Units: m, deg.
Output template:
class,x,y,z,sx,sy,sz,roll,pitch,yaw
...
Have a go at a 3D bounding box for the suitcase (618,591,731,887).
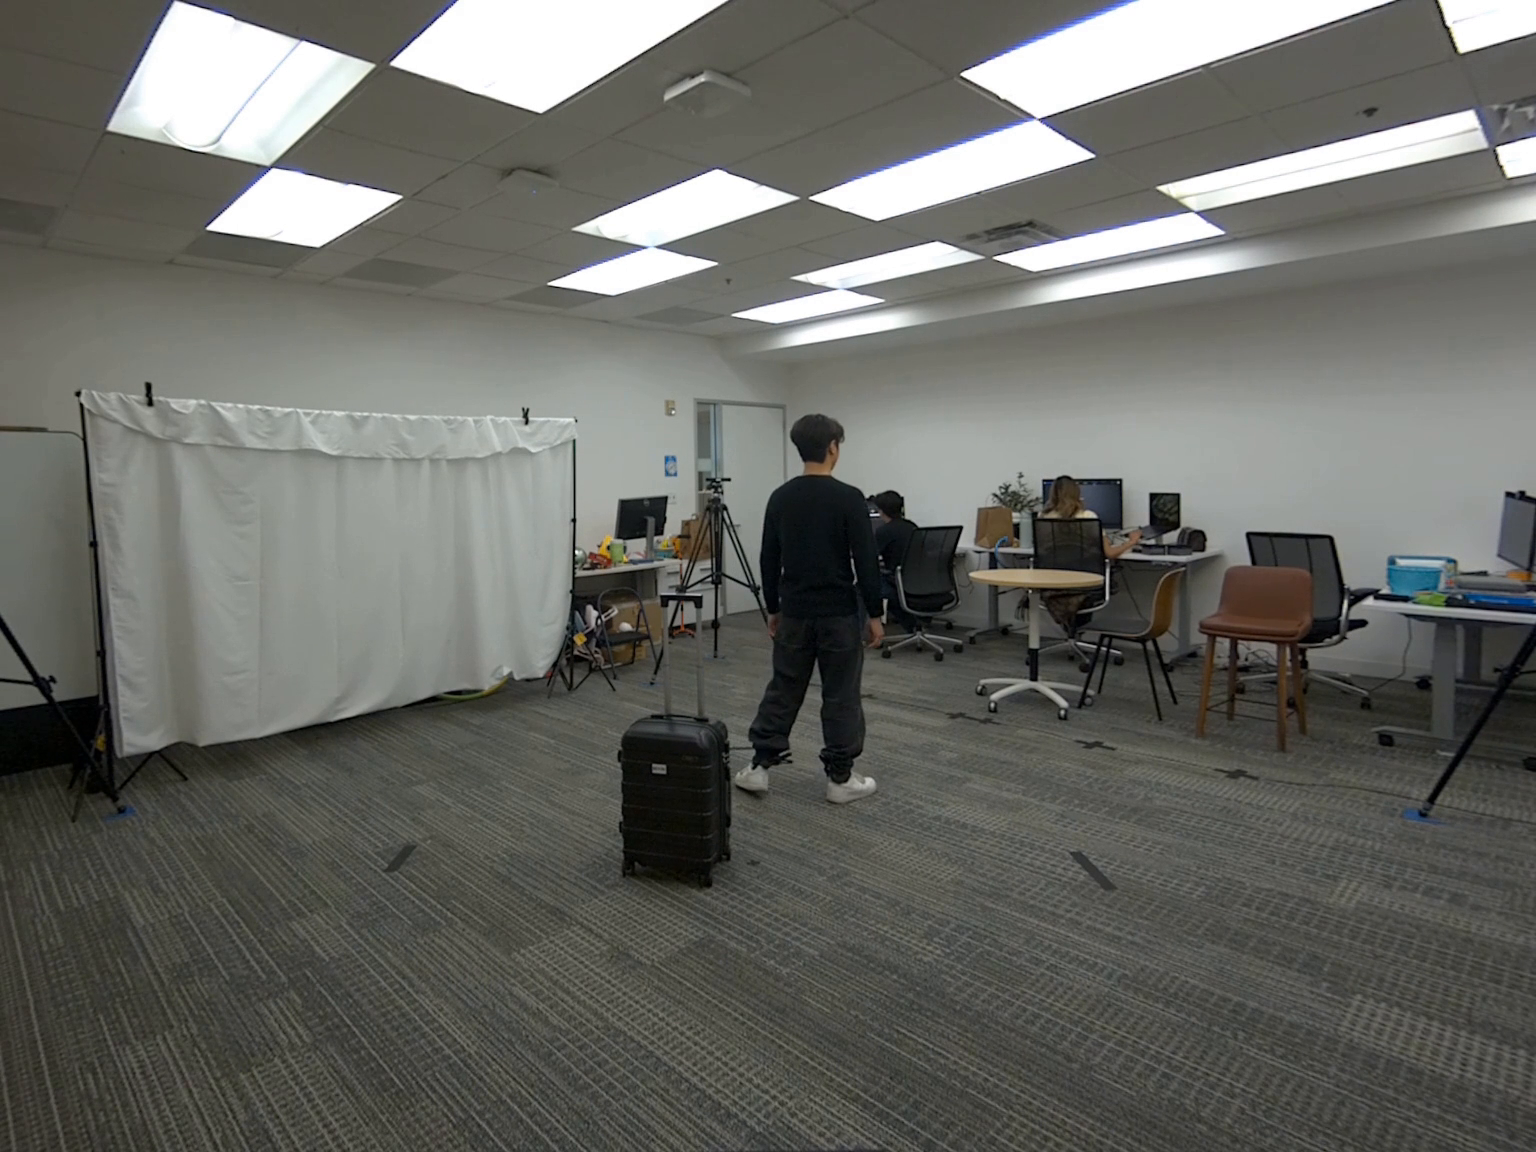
class,x,y,z,sx,sy,sz,roll,pitch,yaw
suitcase,-0.328,0.577,3.021,0.390,0.972,0.254,1,7,17
